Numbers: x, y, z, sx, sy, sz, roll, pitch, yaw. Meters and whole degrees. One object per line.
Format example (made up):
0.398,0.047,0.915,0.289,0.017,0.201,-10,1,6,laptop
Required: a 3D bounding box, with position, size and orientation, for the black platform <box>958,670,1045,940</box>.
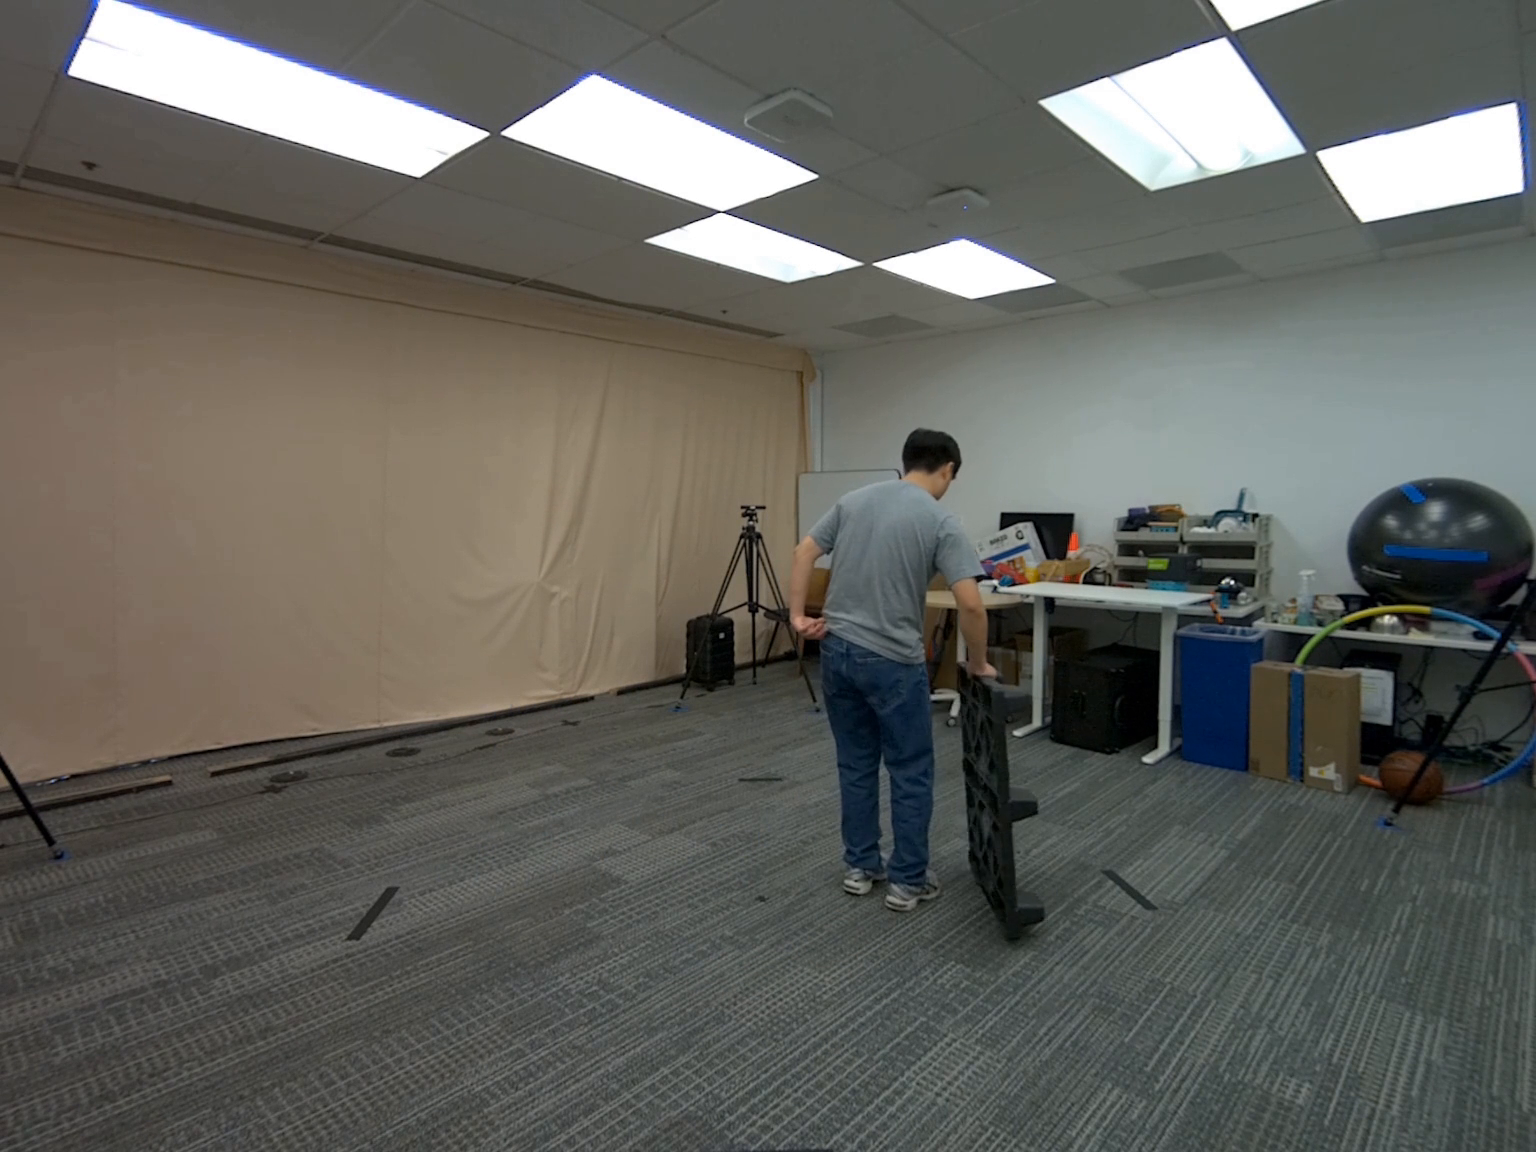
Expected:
0.802,0.733,2.922,0.144,0.805,0.603,-3,1,2,black platform
